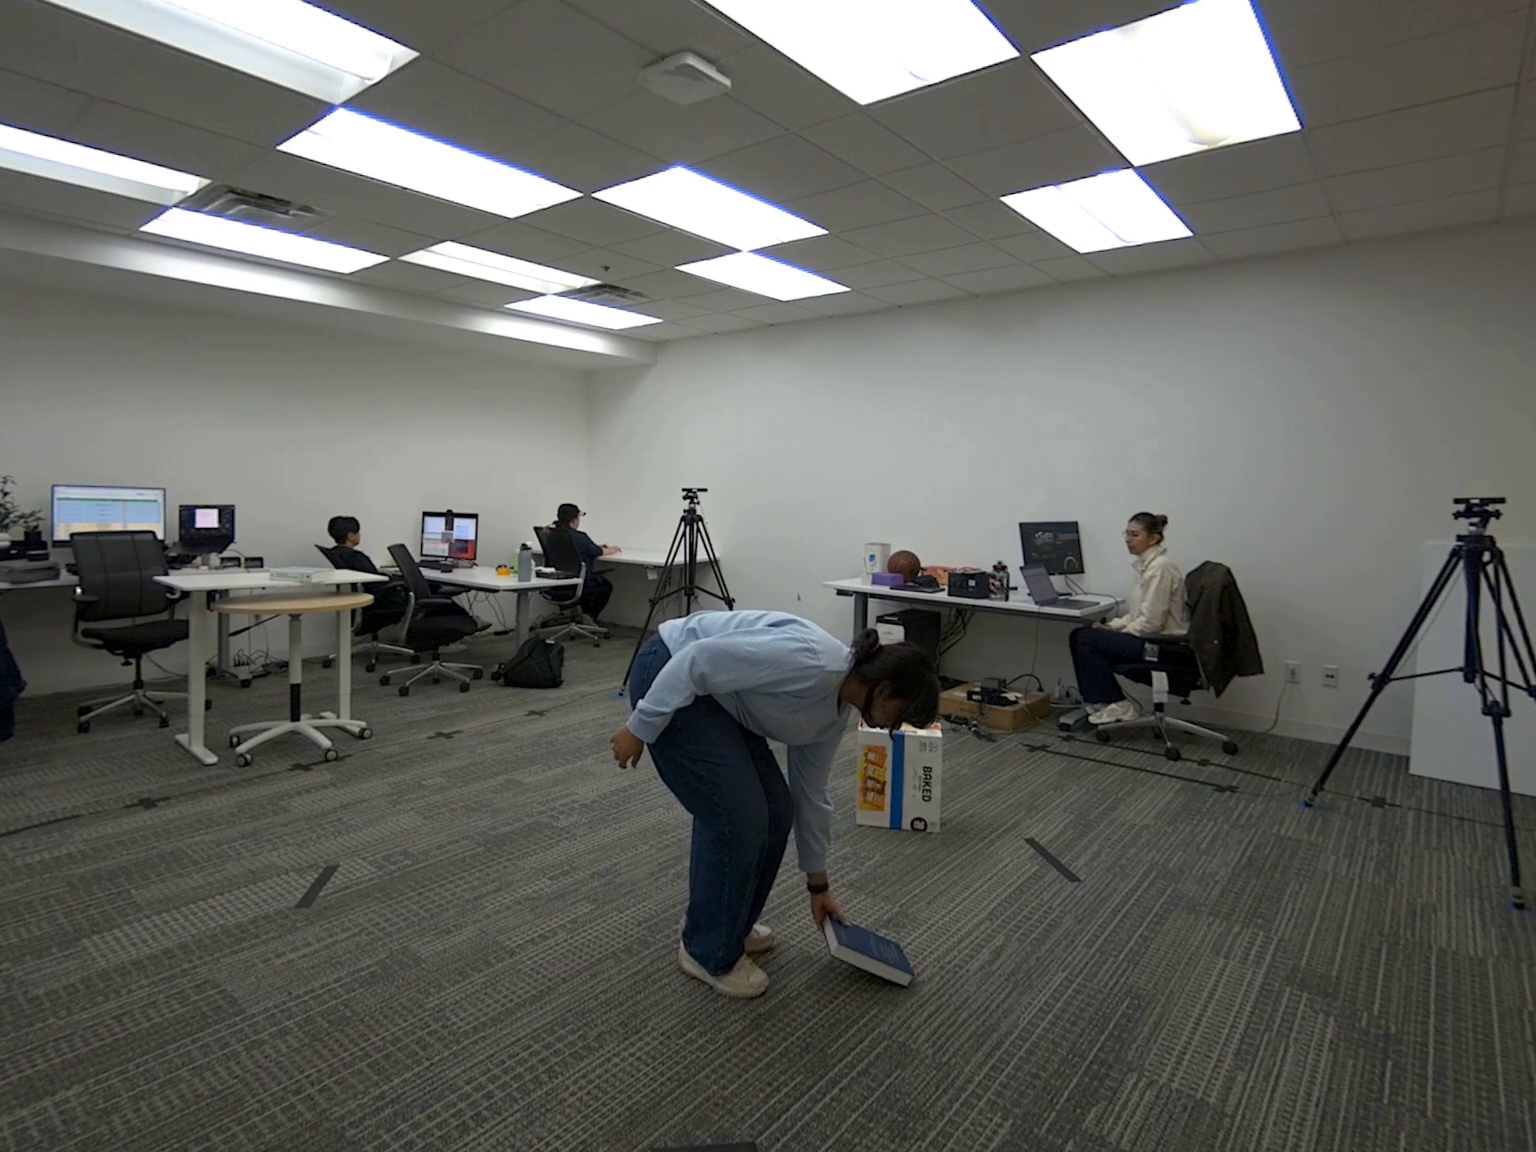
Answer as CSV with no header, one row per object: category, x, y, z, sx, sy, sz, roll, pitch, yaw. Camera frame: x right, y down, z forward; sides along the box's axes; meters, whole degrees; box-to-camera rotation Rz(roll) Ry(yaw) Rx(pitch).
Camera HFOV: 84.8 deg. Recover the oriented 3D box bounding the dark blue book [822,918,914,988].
dark blue book,0.284,1.078,2.448,0.243,0.045,0.165,26,3,-6
